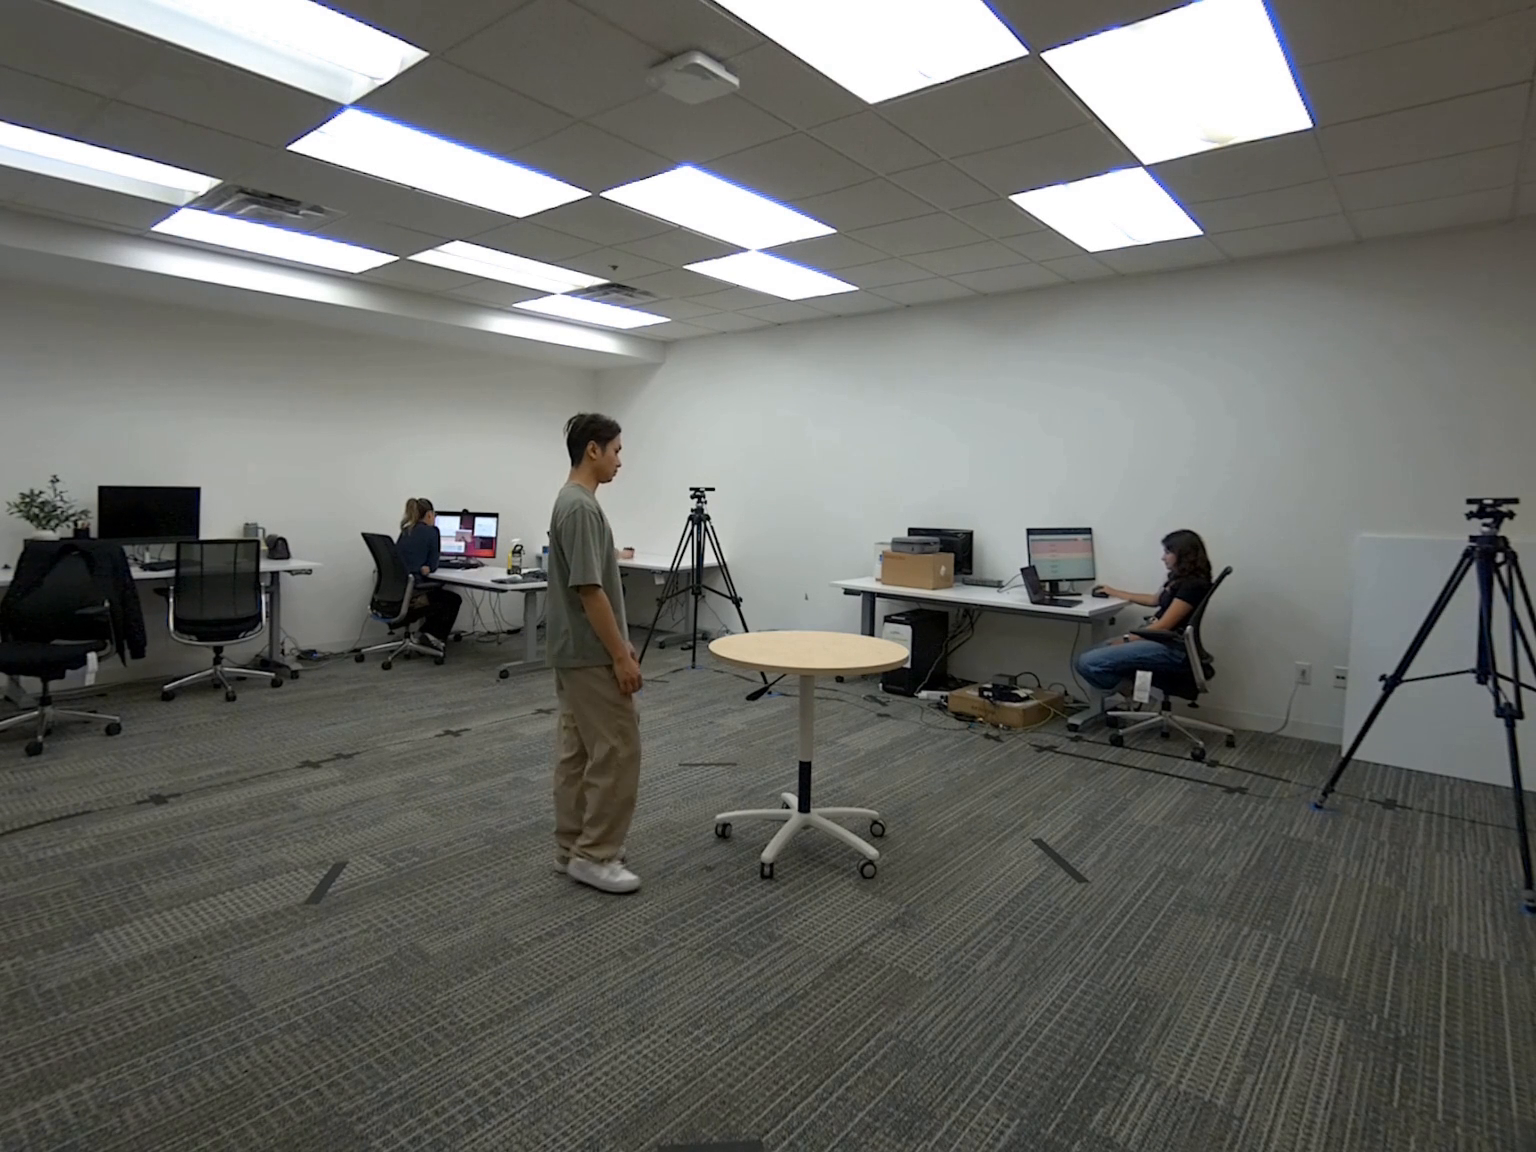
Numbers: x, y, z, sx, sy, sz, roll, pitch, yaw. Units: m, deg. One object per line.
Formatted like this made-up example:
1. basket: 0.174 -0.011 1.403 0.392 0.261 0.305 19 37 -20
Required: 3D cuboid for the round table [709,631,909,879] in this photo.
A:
1. round table: 0.154 0.665 3.302 0.784 0.783 0.789 0 5 -2
